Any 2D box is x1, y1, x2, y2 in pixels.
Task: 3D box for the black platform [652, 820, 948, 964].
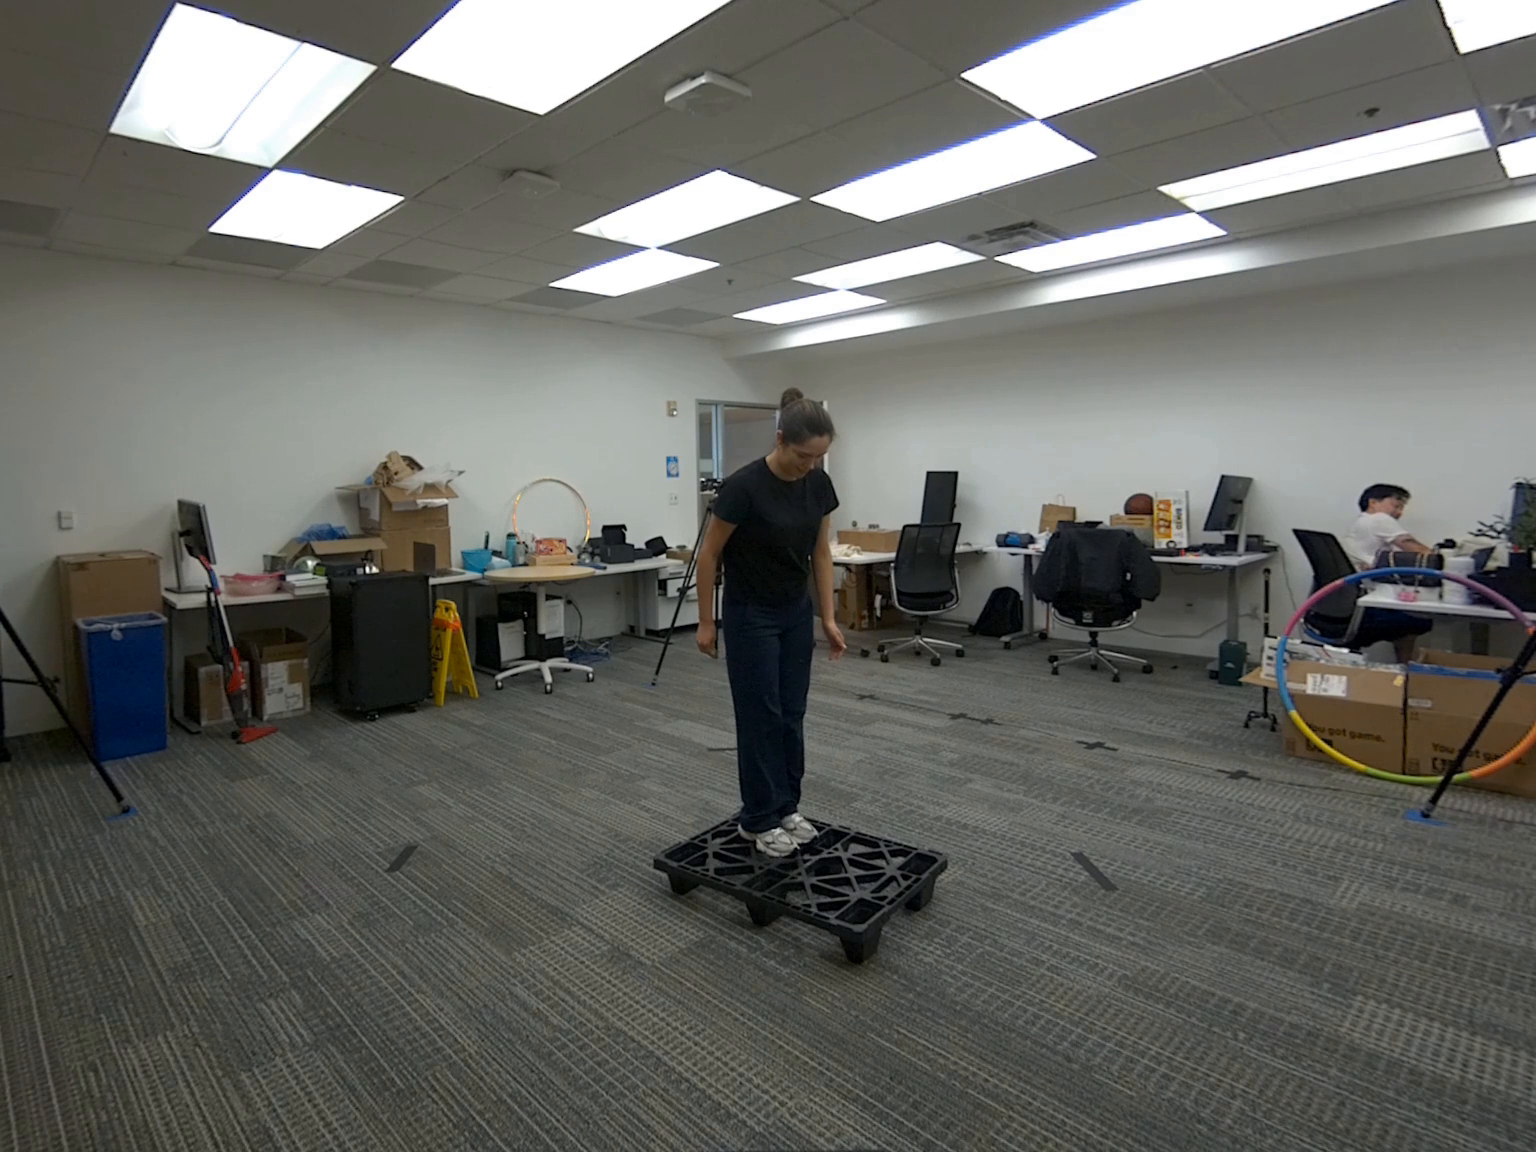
[{"bbox_3d":[0.106,1.001,2.872,0.829,0.143,0.590,4,8,37],"label":"black platform"}]
